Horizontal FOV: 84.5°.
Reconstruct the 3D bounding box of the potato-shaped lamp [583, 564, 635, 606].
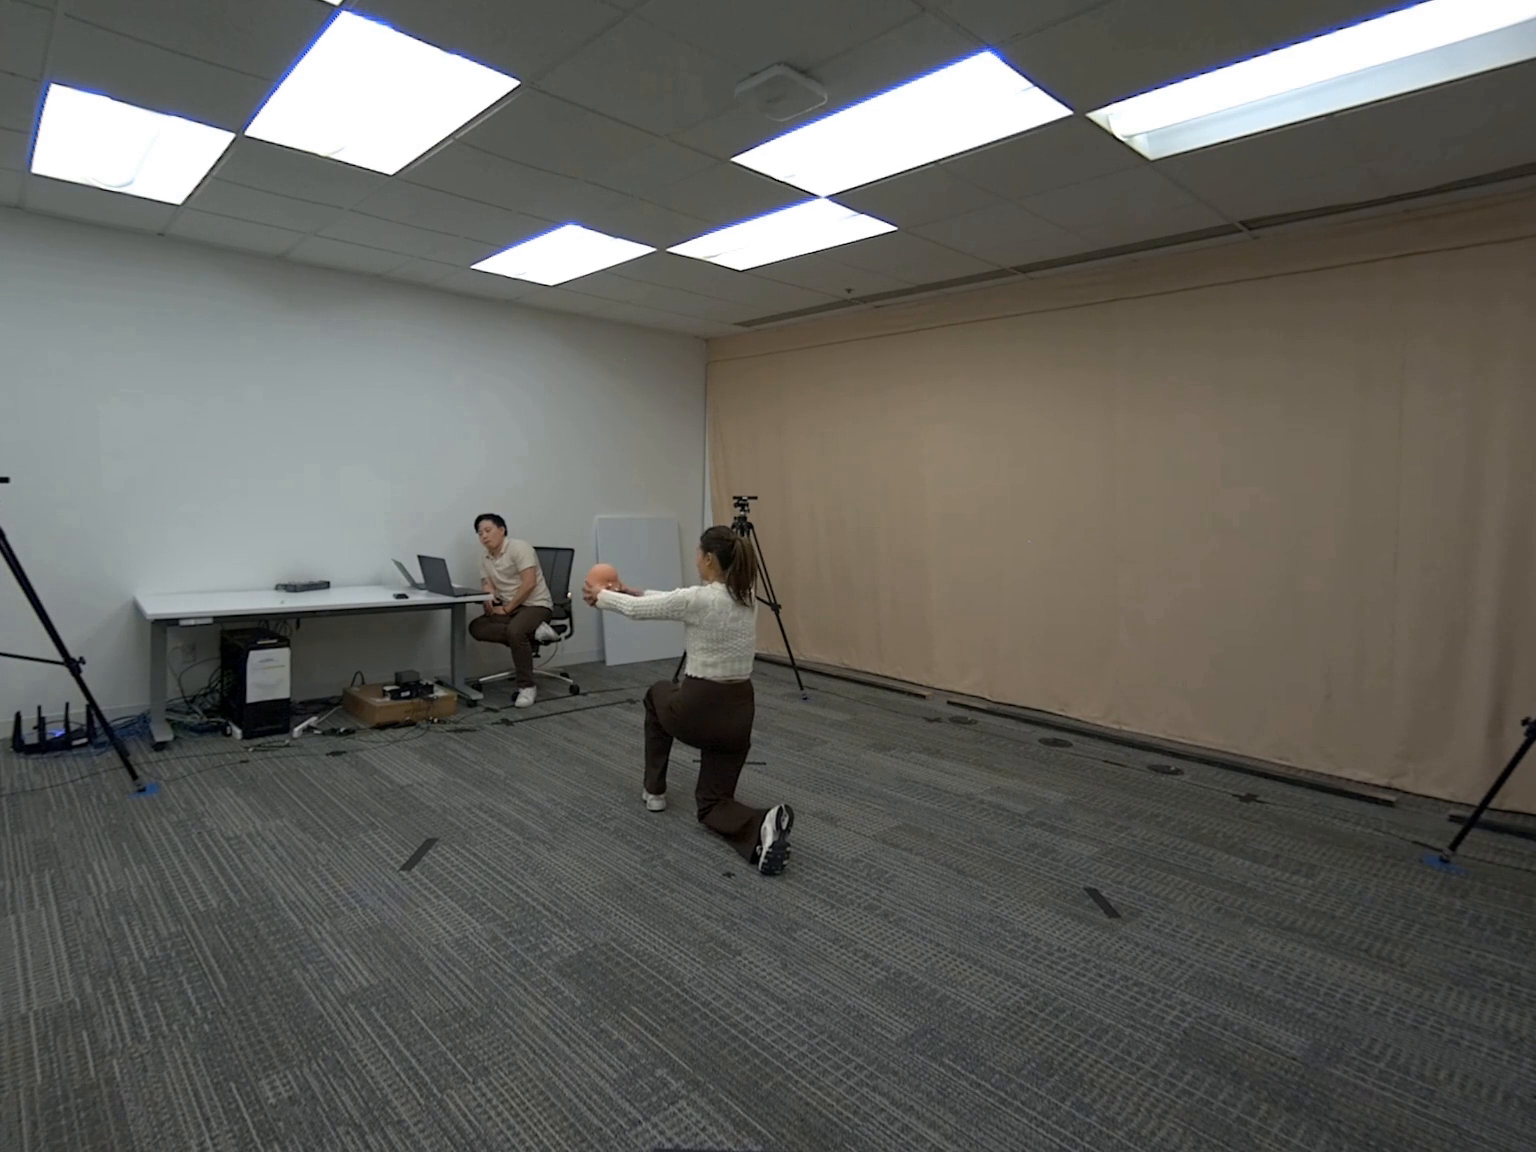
[{"bbox_3d":[-0.758,0.041,3.883,0.162,0.196,0.176,-2,22,-22],"label":"potato-shaped lamp"}]
